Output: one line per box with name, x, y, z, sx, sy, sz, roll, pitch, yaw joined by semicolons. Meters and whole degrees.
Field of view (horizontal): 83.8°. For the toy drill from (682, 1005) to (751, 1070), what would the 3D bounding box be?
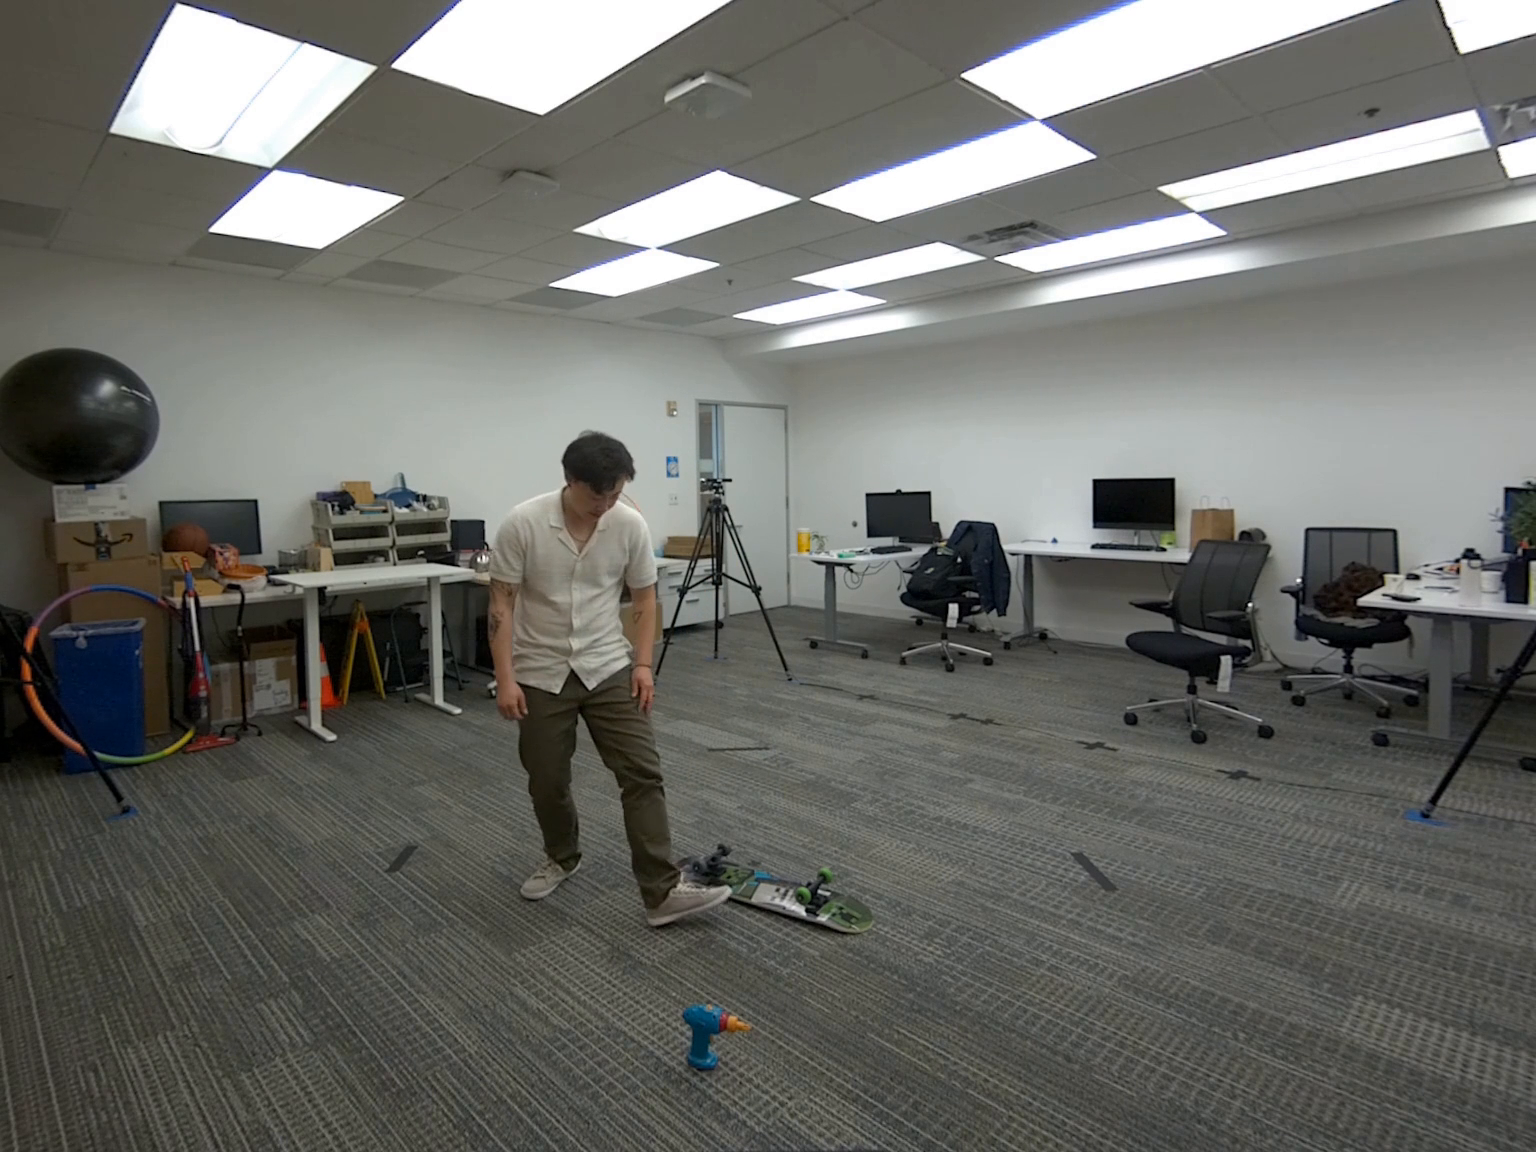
toy drill;-0.109;1.094;2.043;0.172;0.146;0.060;0;1;12
